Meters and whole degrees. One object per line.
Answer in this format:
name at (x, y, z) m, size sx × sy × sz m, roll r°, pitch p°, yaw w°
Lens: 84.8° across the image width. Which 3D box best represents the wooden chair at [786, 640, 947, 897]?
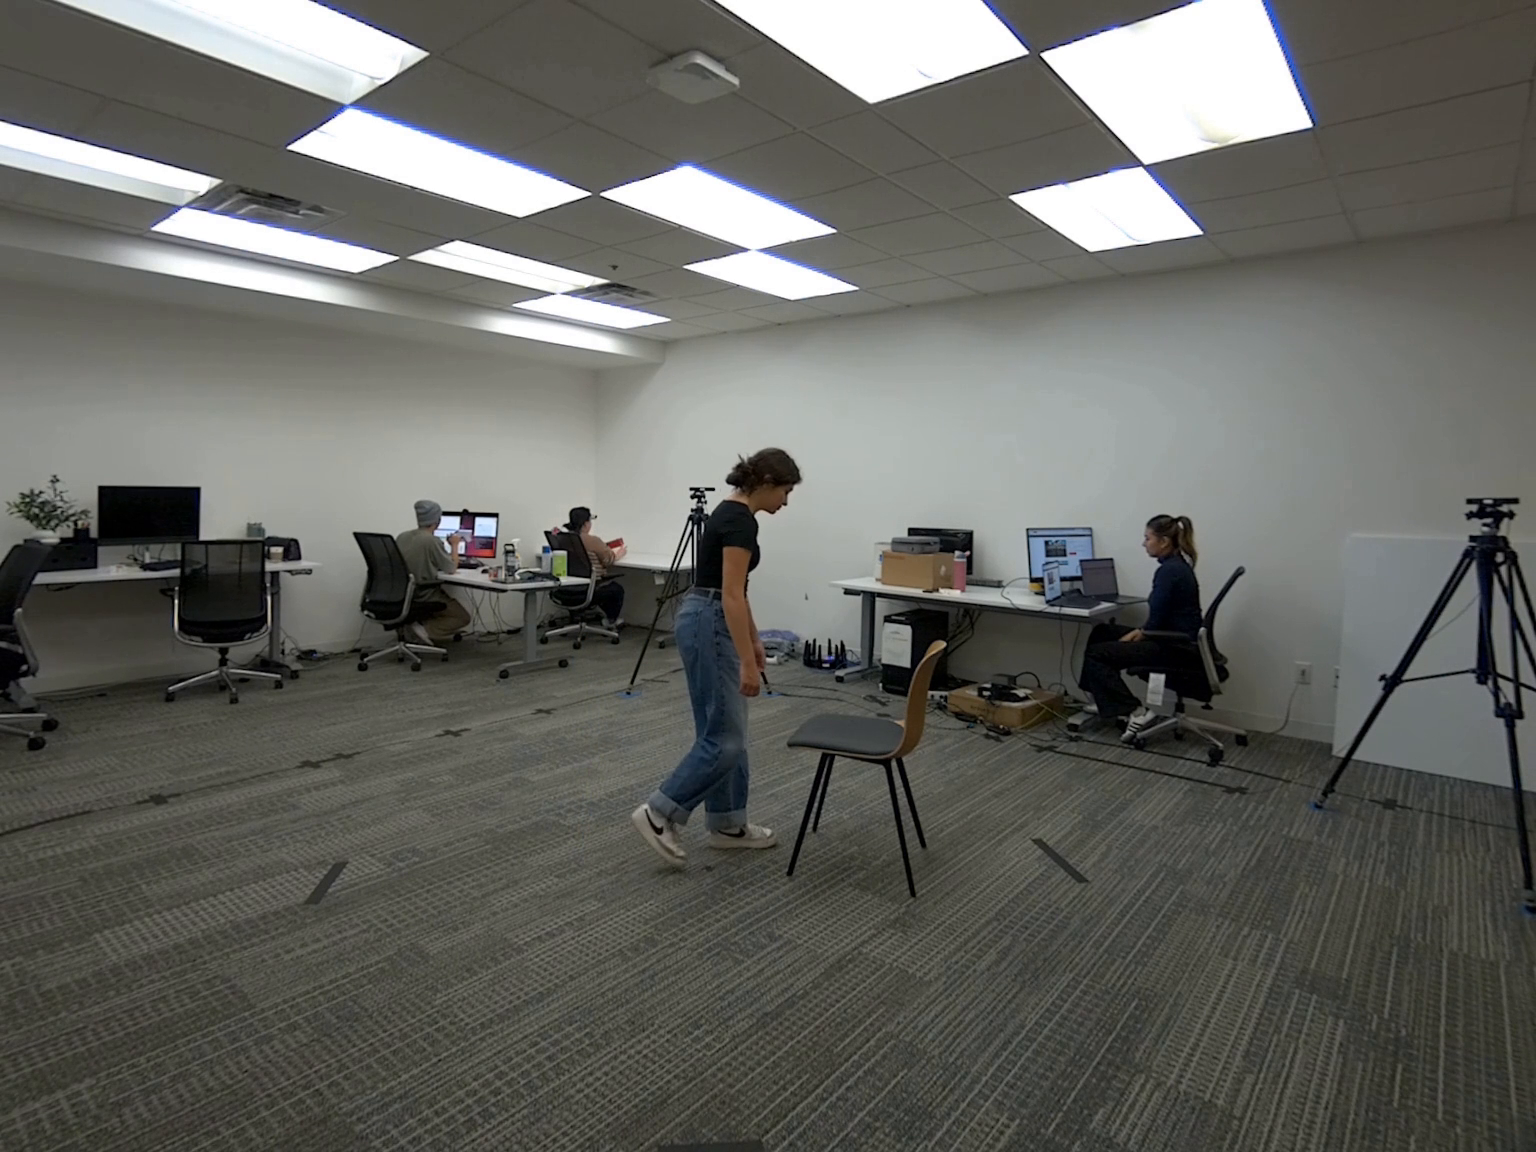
wooden chair at (0.339, 0.648, 3.174) m, size 0.534 × 0.874 × 0.470 m, roll 7°, pitch 5°, yaw 17°
